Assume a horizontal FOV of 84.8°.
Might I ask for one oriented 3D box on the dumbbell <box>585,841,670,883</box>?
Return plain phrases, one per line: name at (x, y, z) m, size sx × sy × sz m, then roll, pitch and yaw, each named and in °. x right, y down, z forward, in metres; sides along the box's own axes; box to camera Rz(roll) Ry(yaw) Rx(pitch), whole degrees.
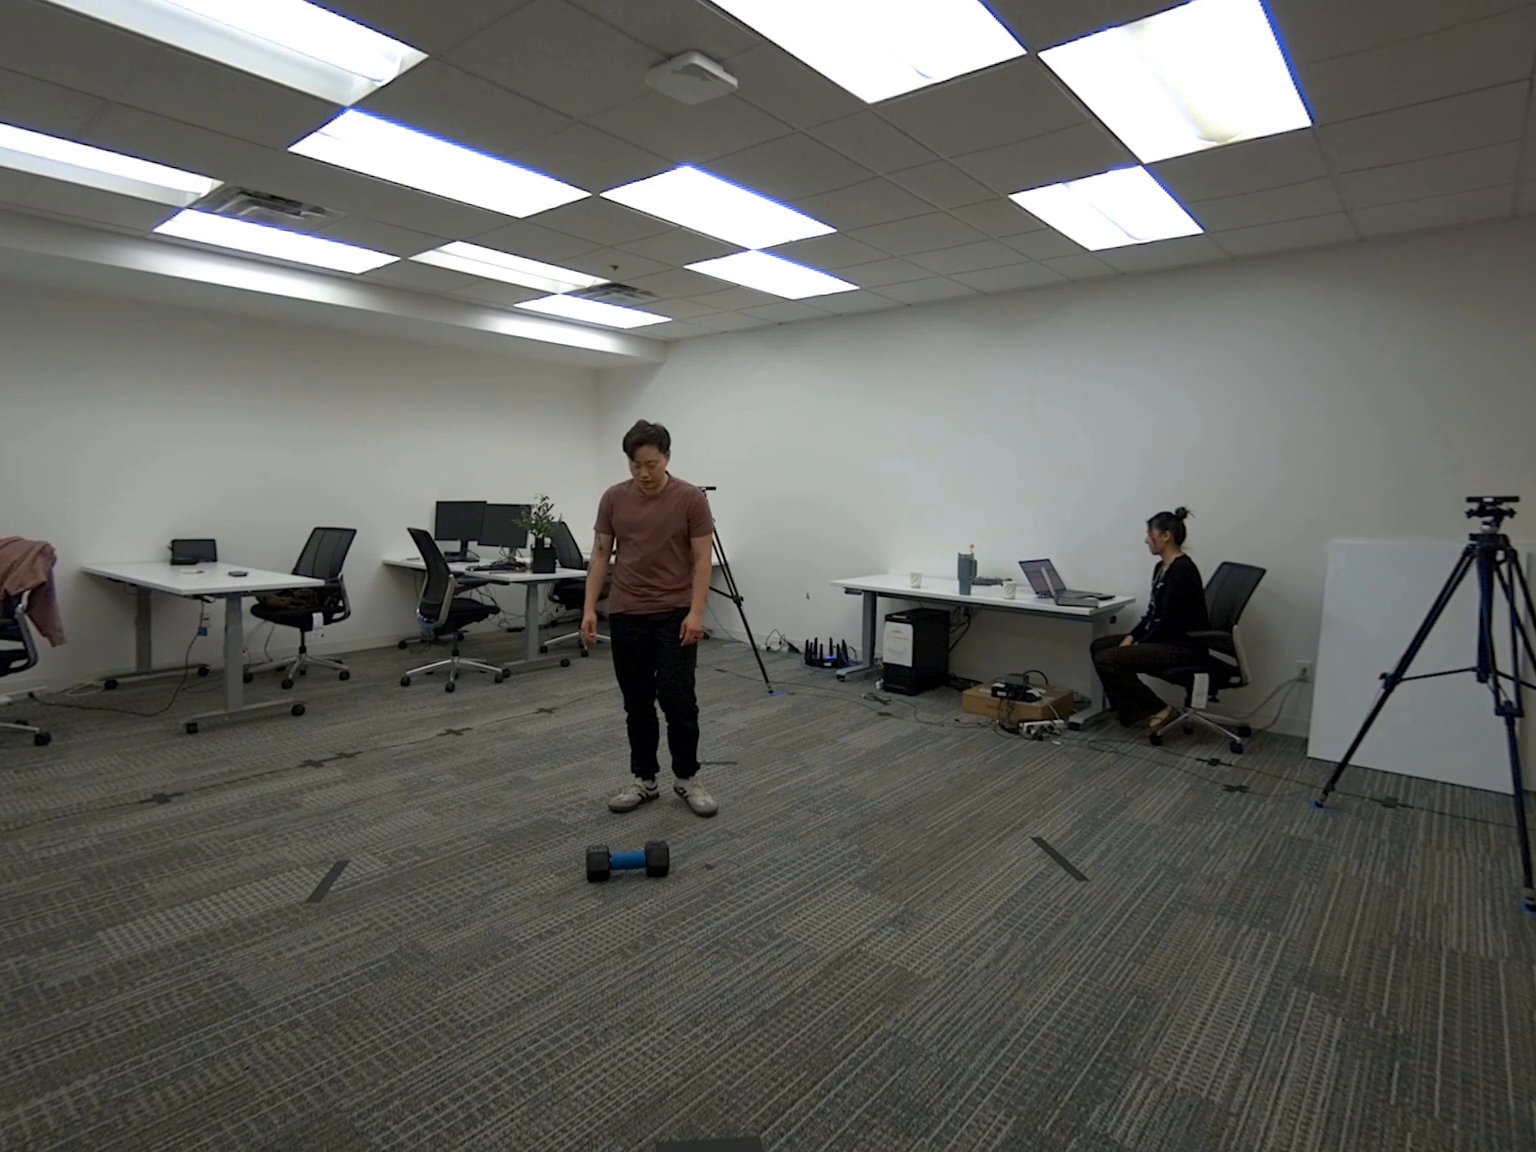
dumbbell at (-0.512, 1.014, 3.035) m, size 0.290 × 0.126 × 0.107 m, roll 0°, pitch -27°, yaw -13°
